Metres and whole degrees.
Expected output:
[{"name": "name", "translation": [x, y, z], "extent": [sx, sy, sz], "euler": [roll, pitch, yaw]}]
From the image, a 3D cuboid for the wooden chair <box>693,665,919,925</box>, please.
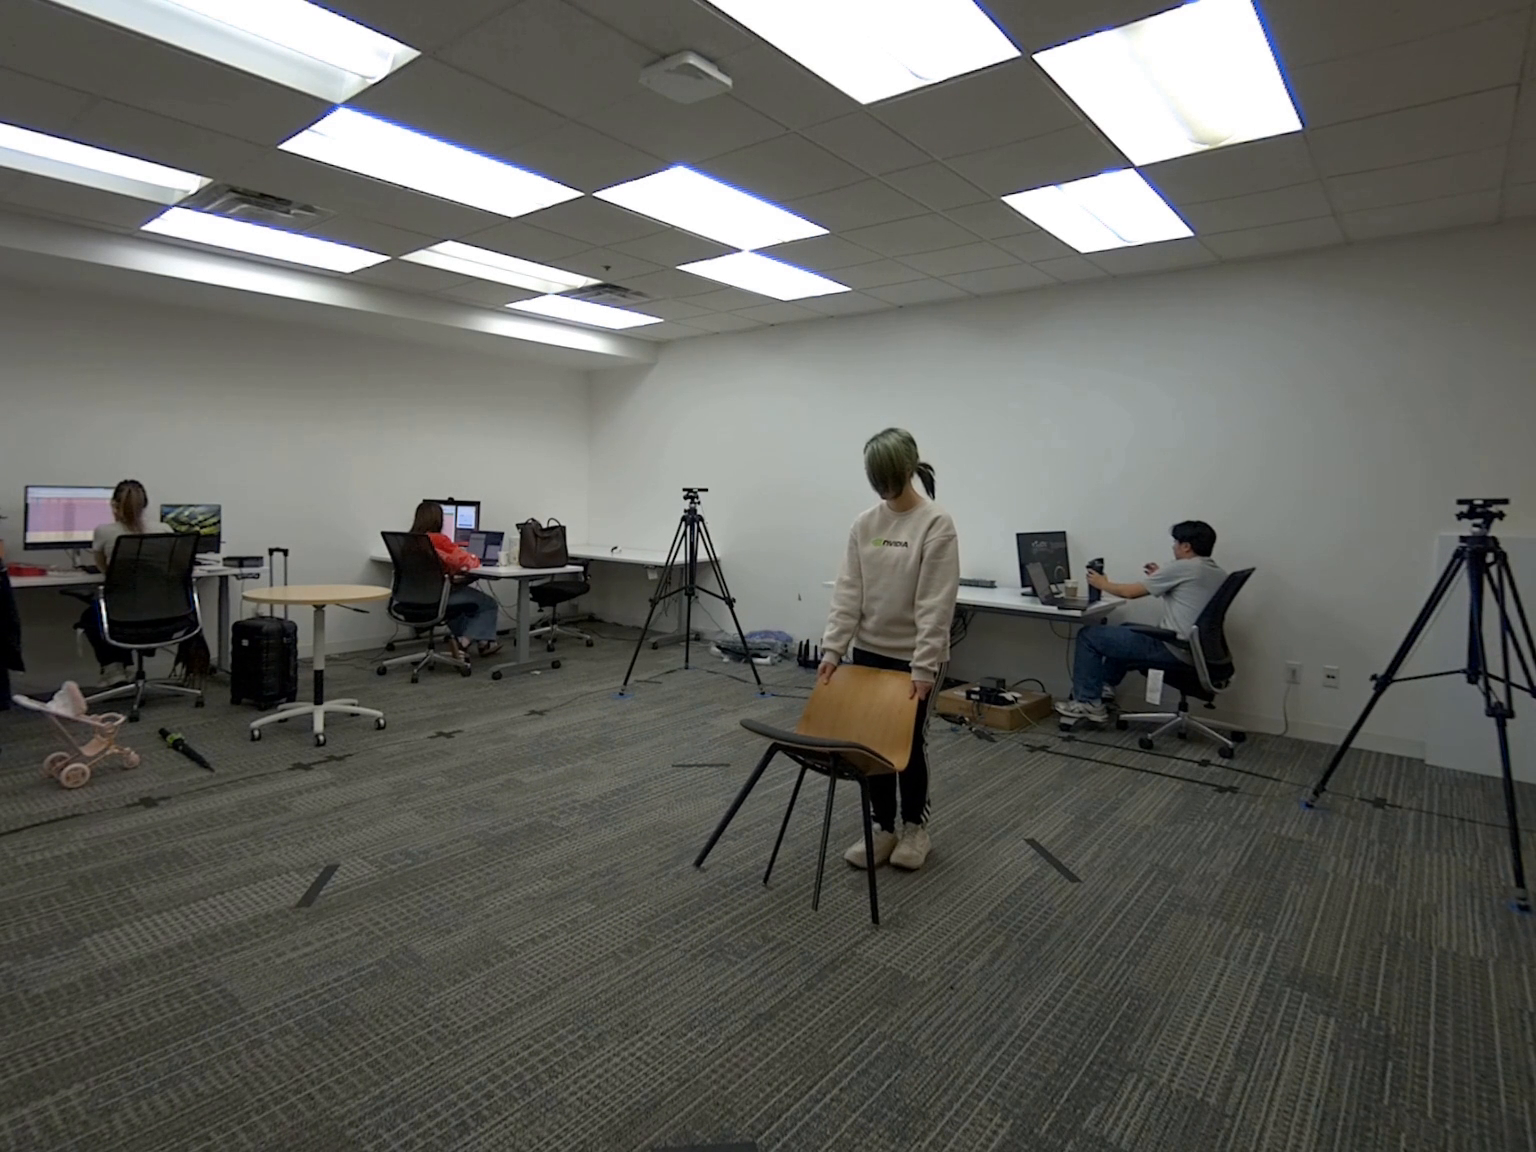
[{"name": "wooden chair", "translation": [0.161, 0.615, 2.825], "extent": [0.494, 0.886, 0.501], "euler": [4, -25, 37]}]
